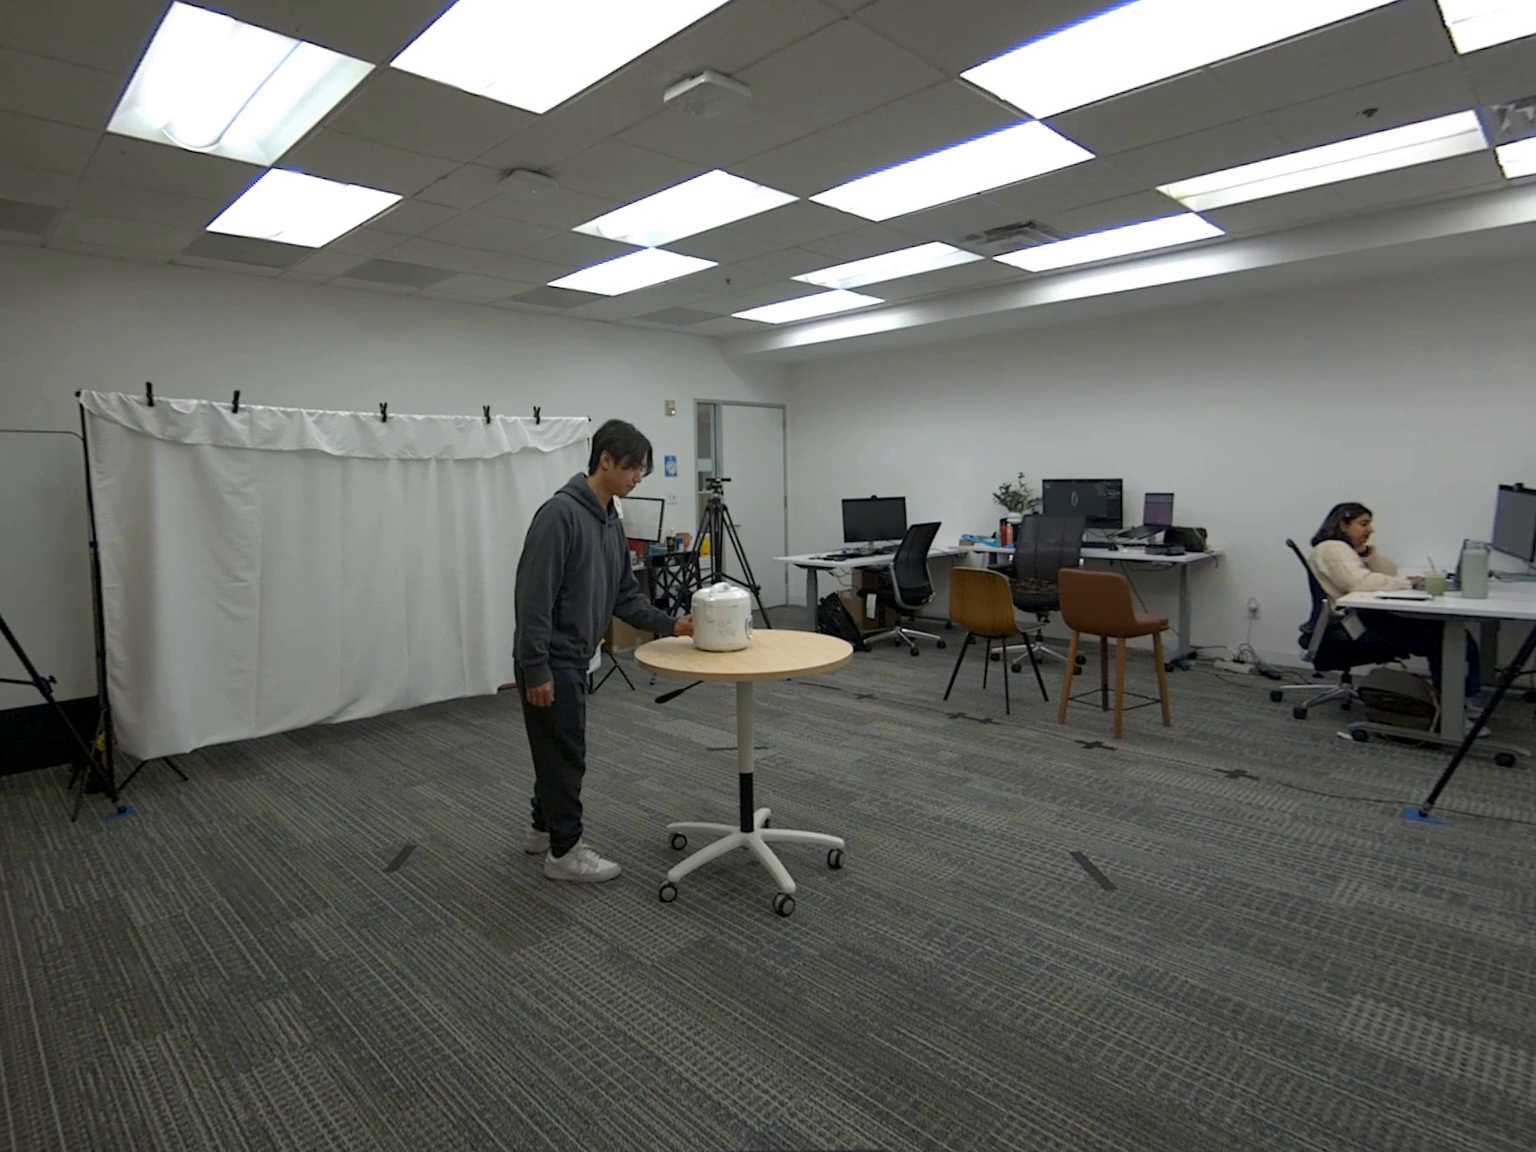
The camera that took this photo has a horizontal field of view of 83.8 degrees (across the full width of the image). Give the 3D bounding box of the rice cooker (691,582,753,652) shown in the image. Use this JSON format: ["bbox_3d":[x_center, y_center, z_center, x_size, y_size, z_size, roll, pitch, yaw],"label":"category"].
[{"bbox_3d":[-0.164,0.138,3.033,0.222,0.232,0.217,0,5,22],"label":"rice cooker"}]
